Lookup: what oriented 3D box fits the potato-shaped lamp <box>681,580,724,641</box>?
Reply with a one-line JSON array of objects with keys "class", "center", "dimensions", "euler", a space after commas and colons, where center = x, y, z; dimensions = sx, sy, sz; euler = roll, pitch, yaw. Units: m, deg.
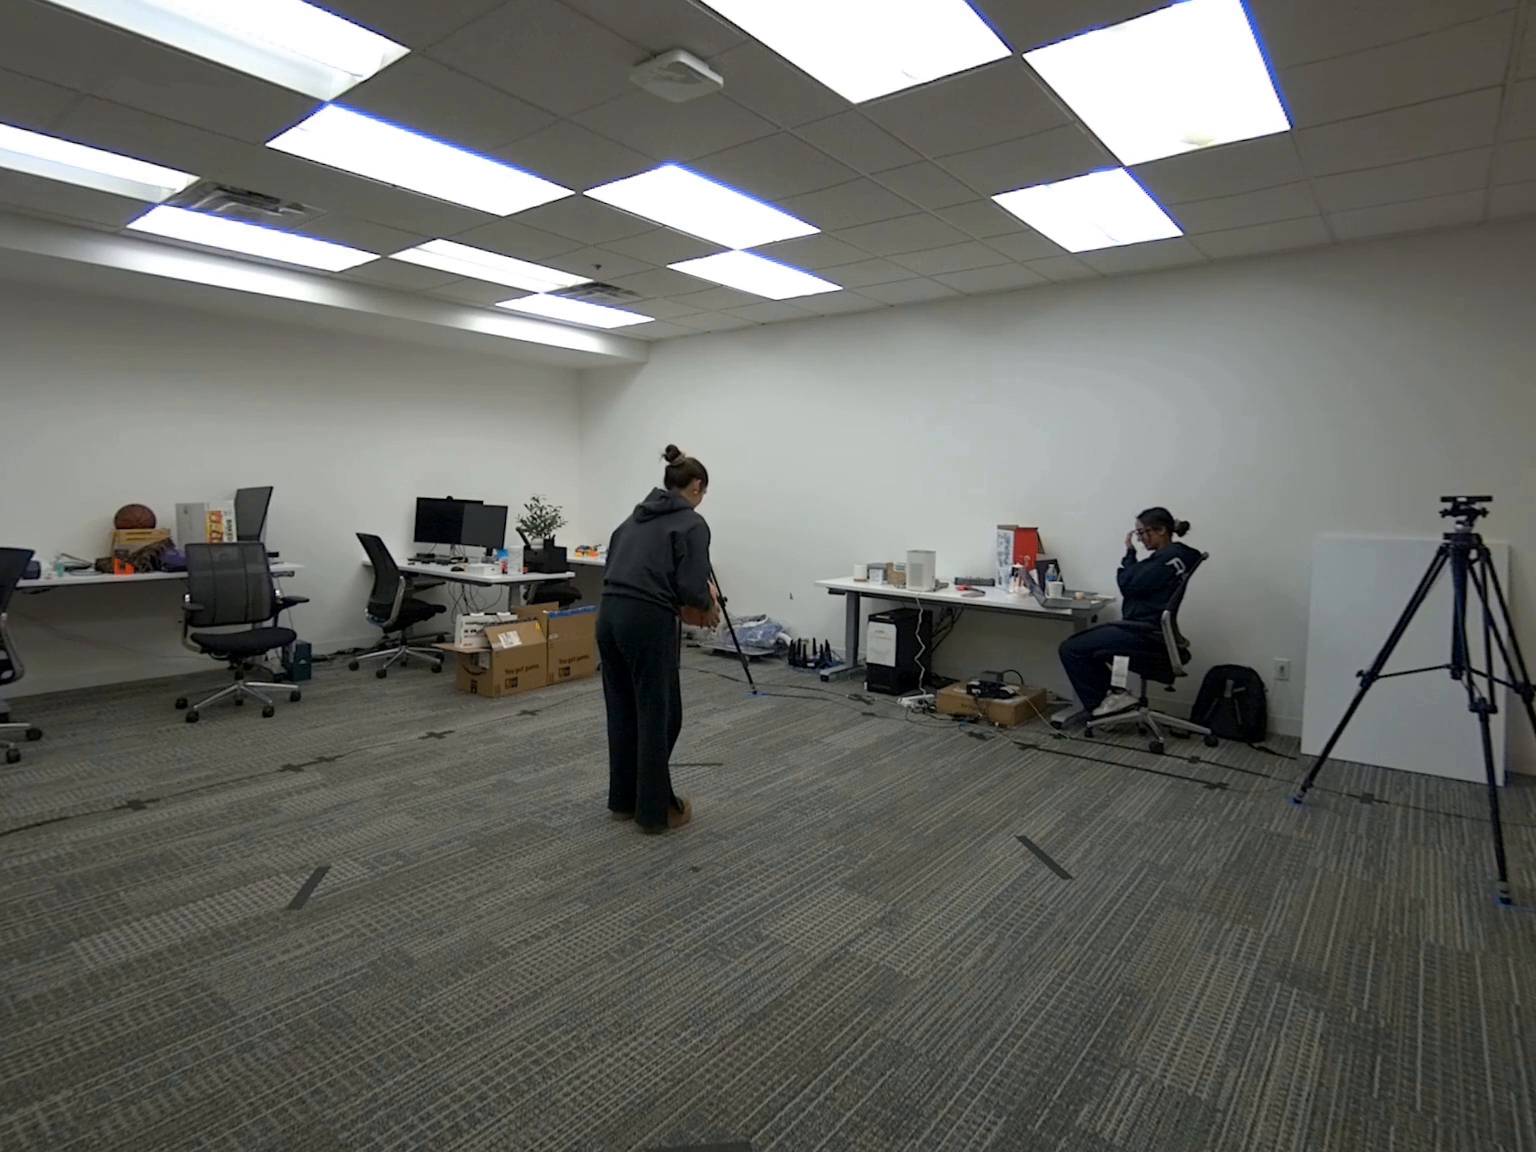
[{"class": "potato-shaped lamp", "center": [-0.305, 0.135, 3.697], "dimensions": [0.174, 0.193, 0.166], "euler": [12, 38, 11]}]
